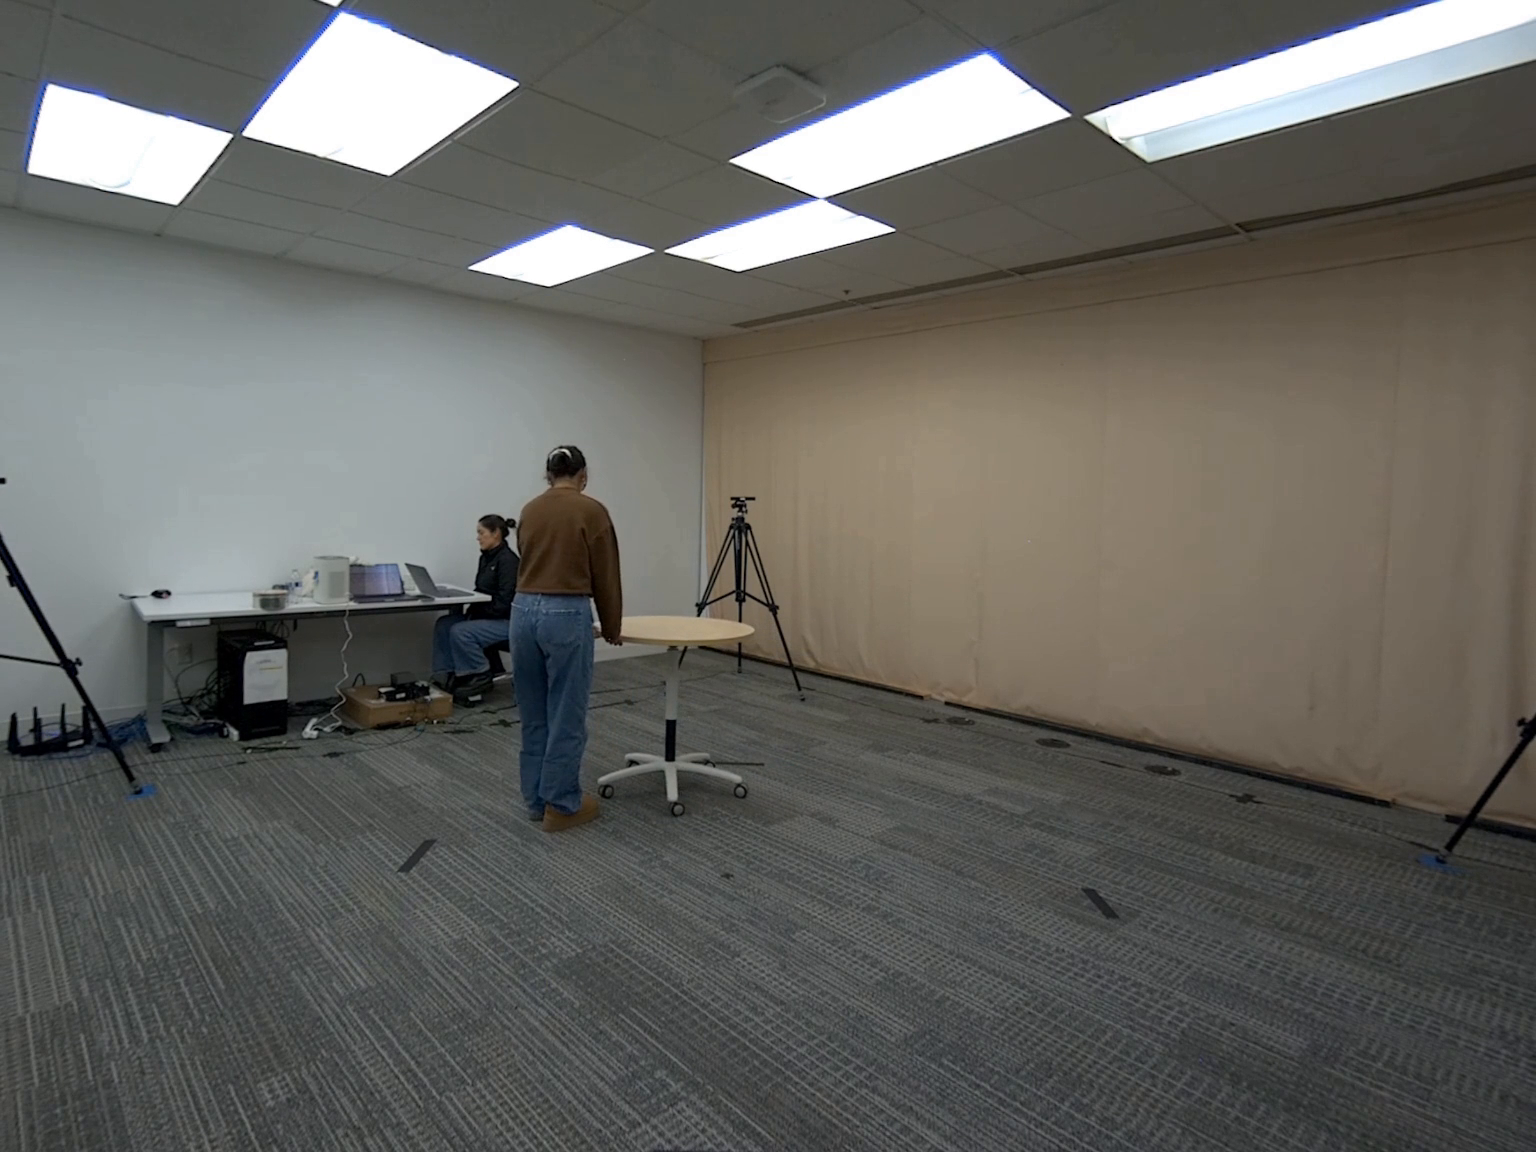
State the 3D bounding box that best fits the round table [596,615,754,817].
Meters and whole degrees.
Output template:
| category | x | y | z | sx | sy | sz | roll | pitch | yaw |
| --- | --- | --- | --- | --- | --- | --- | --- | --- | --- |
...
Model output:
| category | x | y | z | sx | sy | sz | roll | pitch | yaw |
| --- | --- | --- | --- | --- | --- | --- | --- | --- | --- |
| round table | -0.466 | 0.634 | 3.998 | 0.763 | 0.792 | 0.766 | 2 | 3 | -1 |
